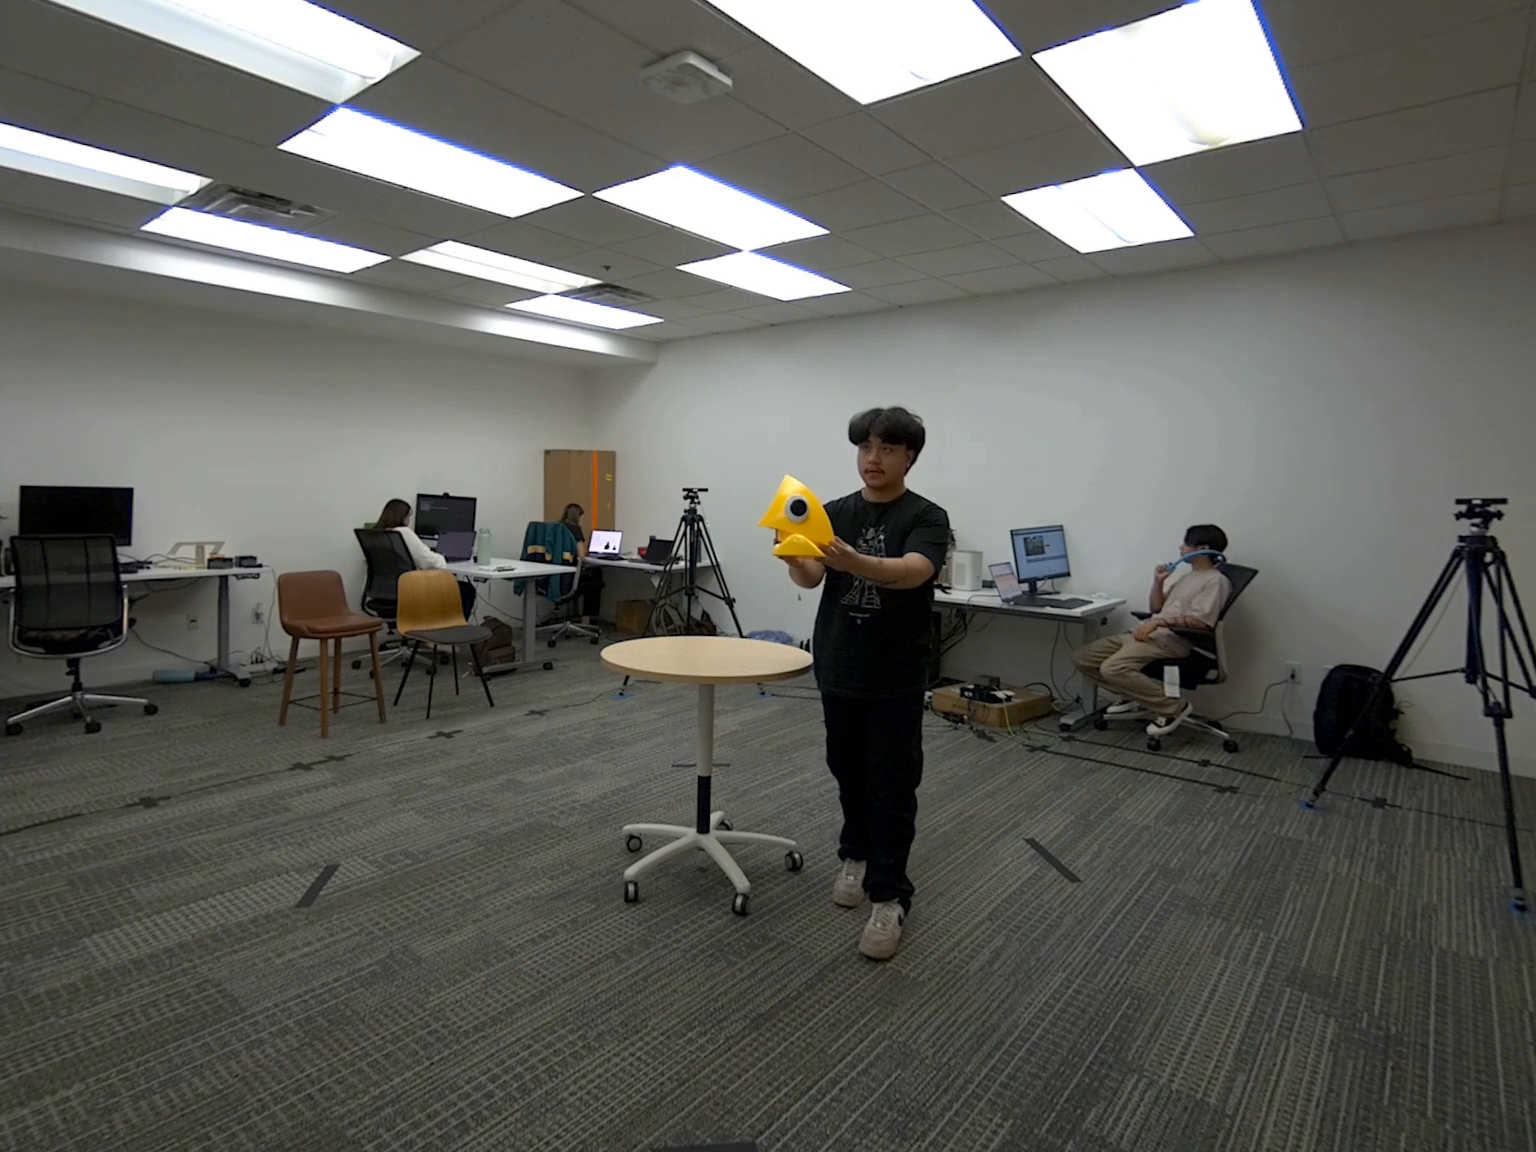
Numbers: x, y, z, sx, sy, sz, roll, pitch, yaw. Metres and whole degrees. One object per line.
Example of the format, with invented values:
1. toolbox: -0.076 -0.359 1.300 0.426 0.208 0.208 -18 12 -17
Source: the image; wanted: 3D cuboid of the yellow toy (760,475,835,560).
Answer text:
1. yellow toy: 0.099 -0.172 2.343 0.198 0.232 0.198 -1 -4 29
